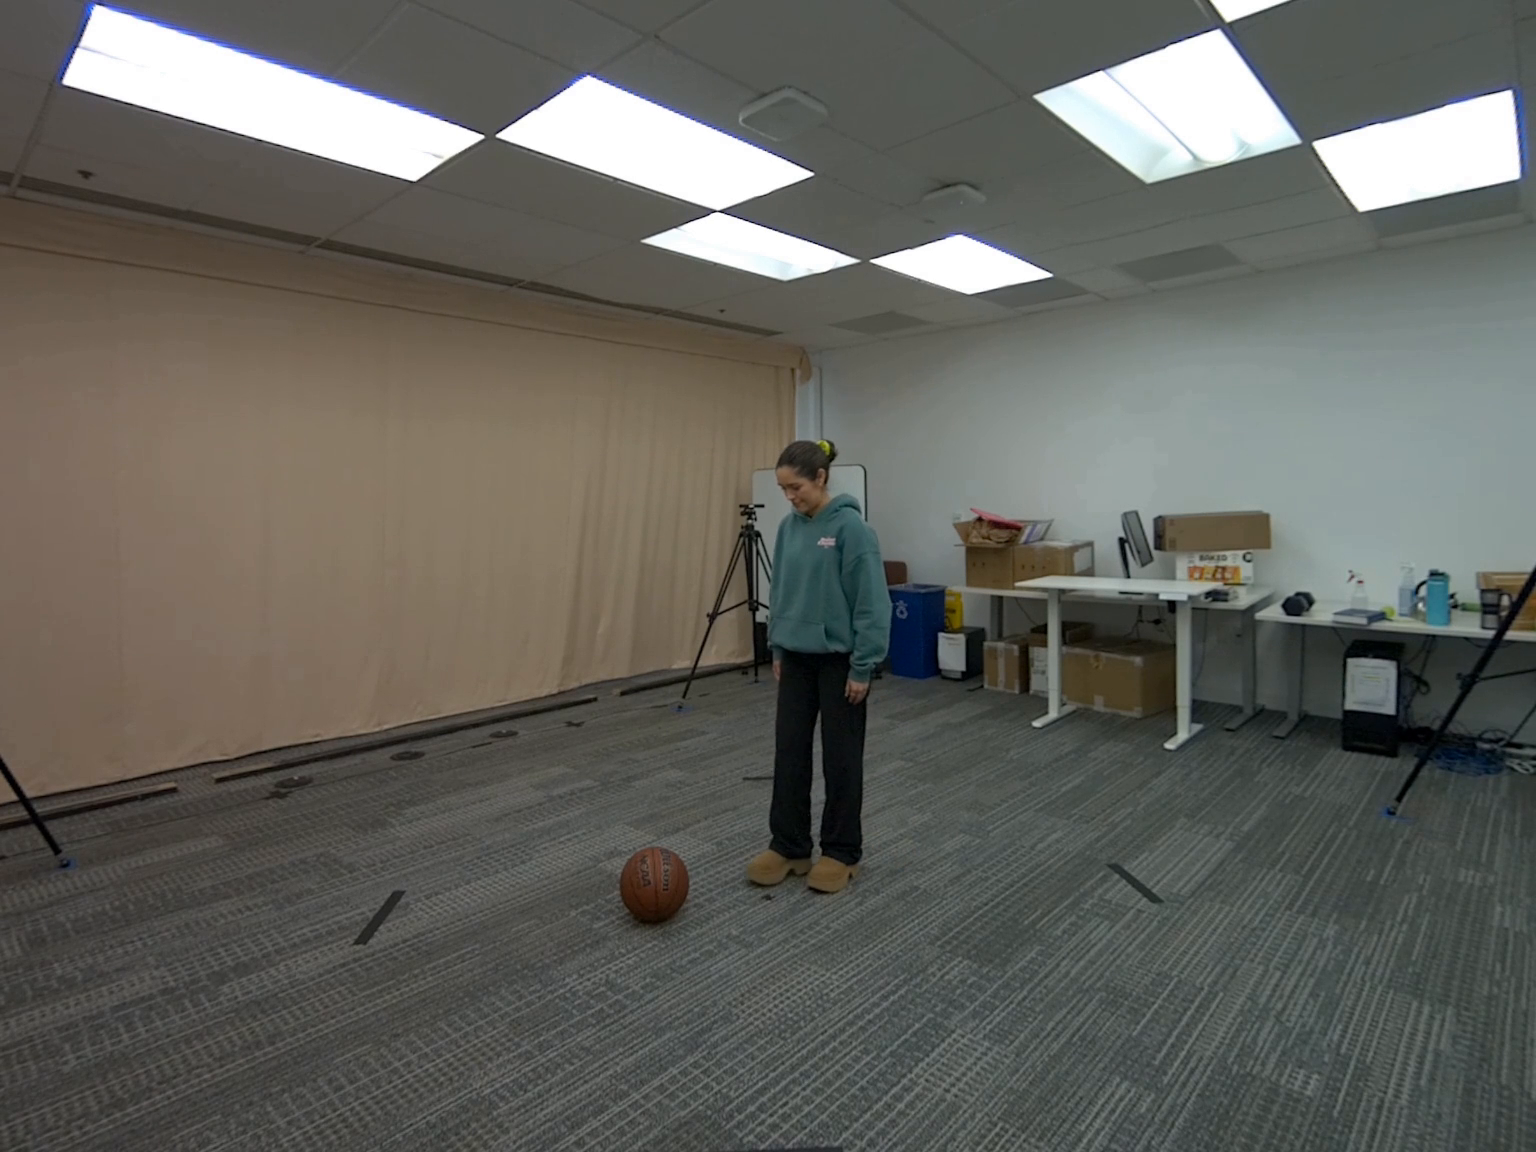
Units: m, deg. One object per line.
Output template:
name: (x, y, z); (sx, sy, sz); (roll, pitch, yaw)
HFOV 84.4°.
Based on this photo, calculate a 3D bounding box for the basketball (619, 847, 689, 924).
basketball: (-0.378, 1.040, 2.845); (0.236, 0.235, 0.237); (-1, 4, -2)
